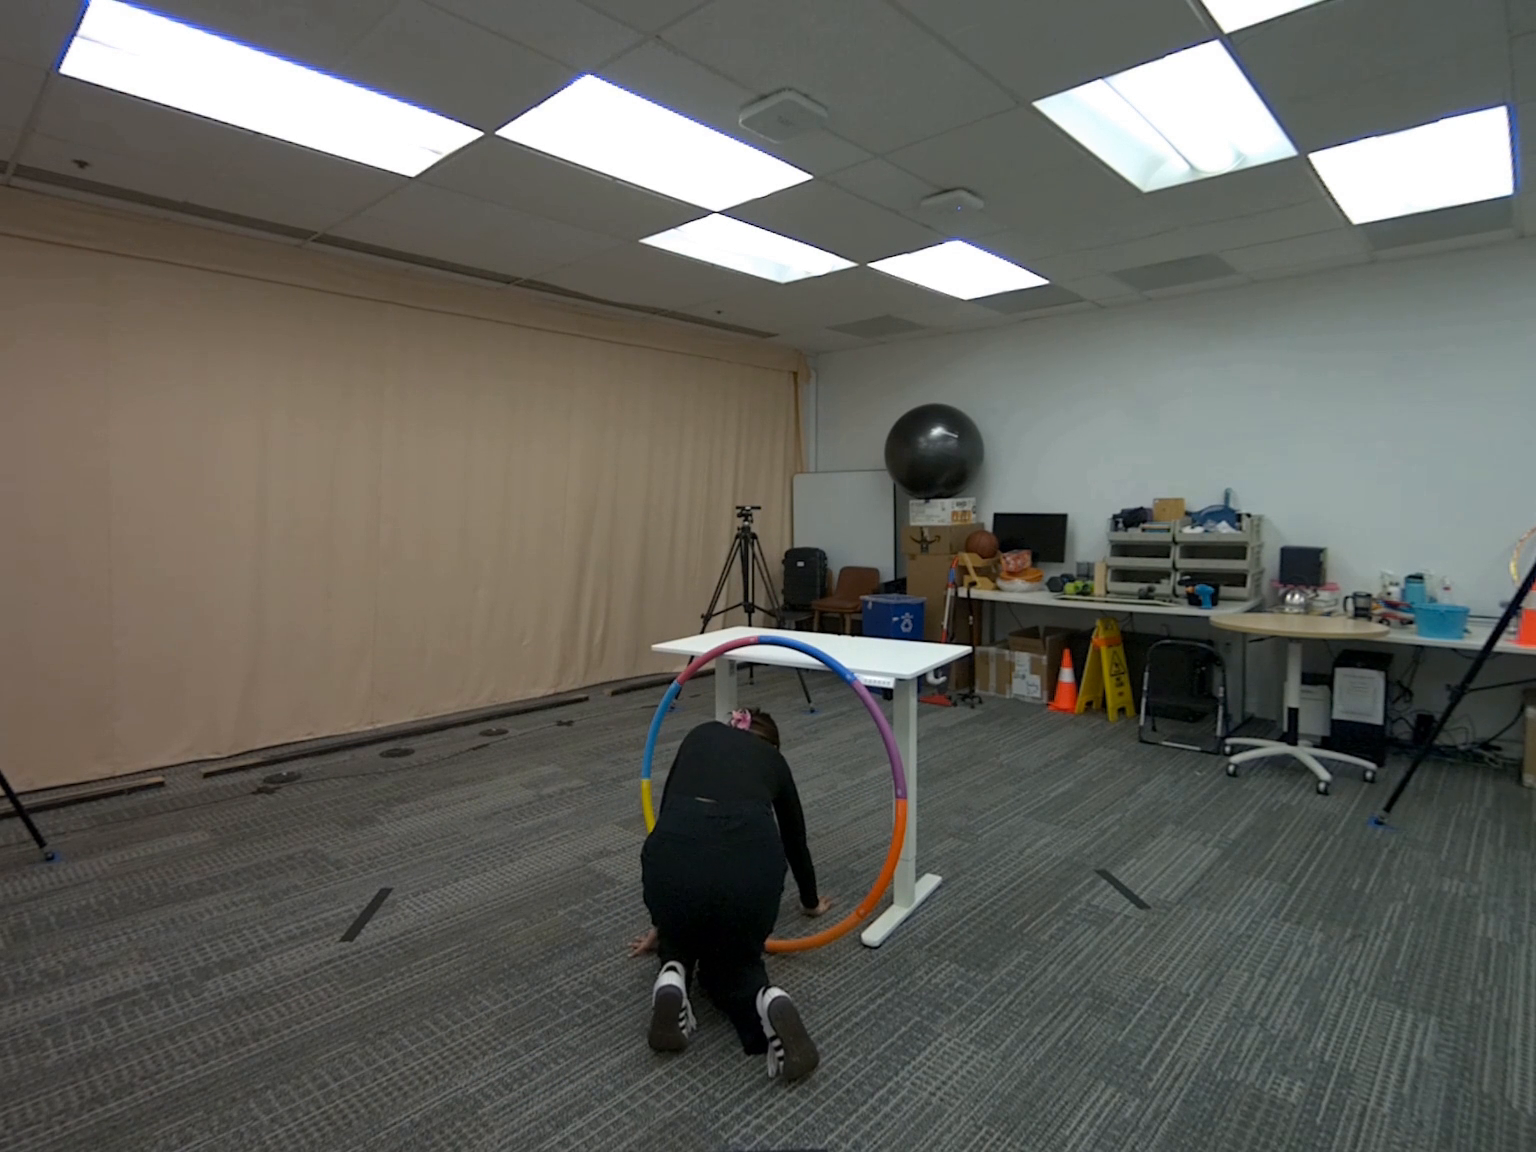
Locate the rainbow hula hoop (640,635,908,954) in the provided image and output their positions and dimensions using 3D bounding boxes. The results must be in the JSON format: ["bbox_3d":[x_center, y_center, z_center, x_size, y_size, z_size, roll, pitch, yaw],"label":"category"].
[{"bbox_3d":[-0.020,0.682,2.725,1.009,0.982,0.034,2,-8,34],"label":"rainbow hula hoop"}]
